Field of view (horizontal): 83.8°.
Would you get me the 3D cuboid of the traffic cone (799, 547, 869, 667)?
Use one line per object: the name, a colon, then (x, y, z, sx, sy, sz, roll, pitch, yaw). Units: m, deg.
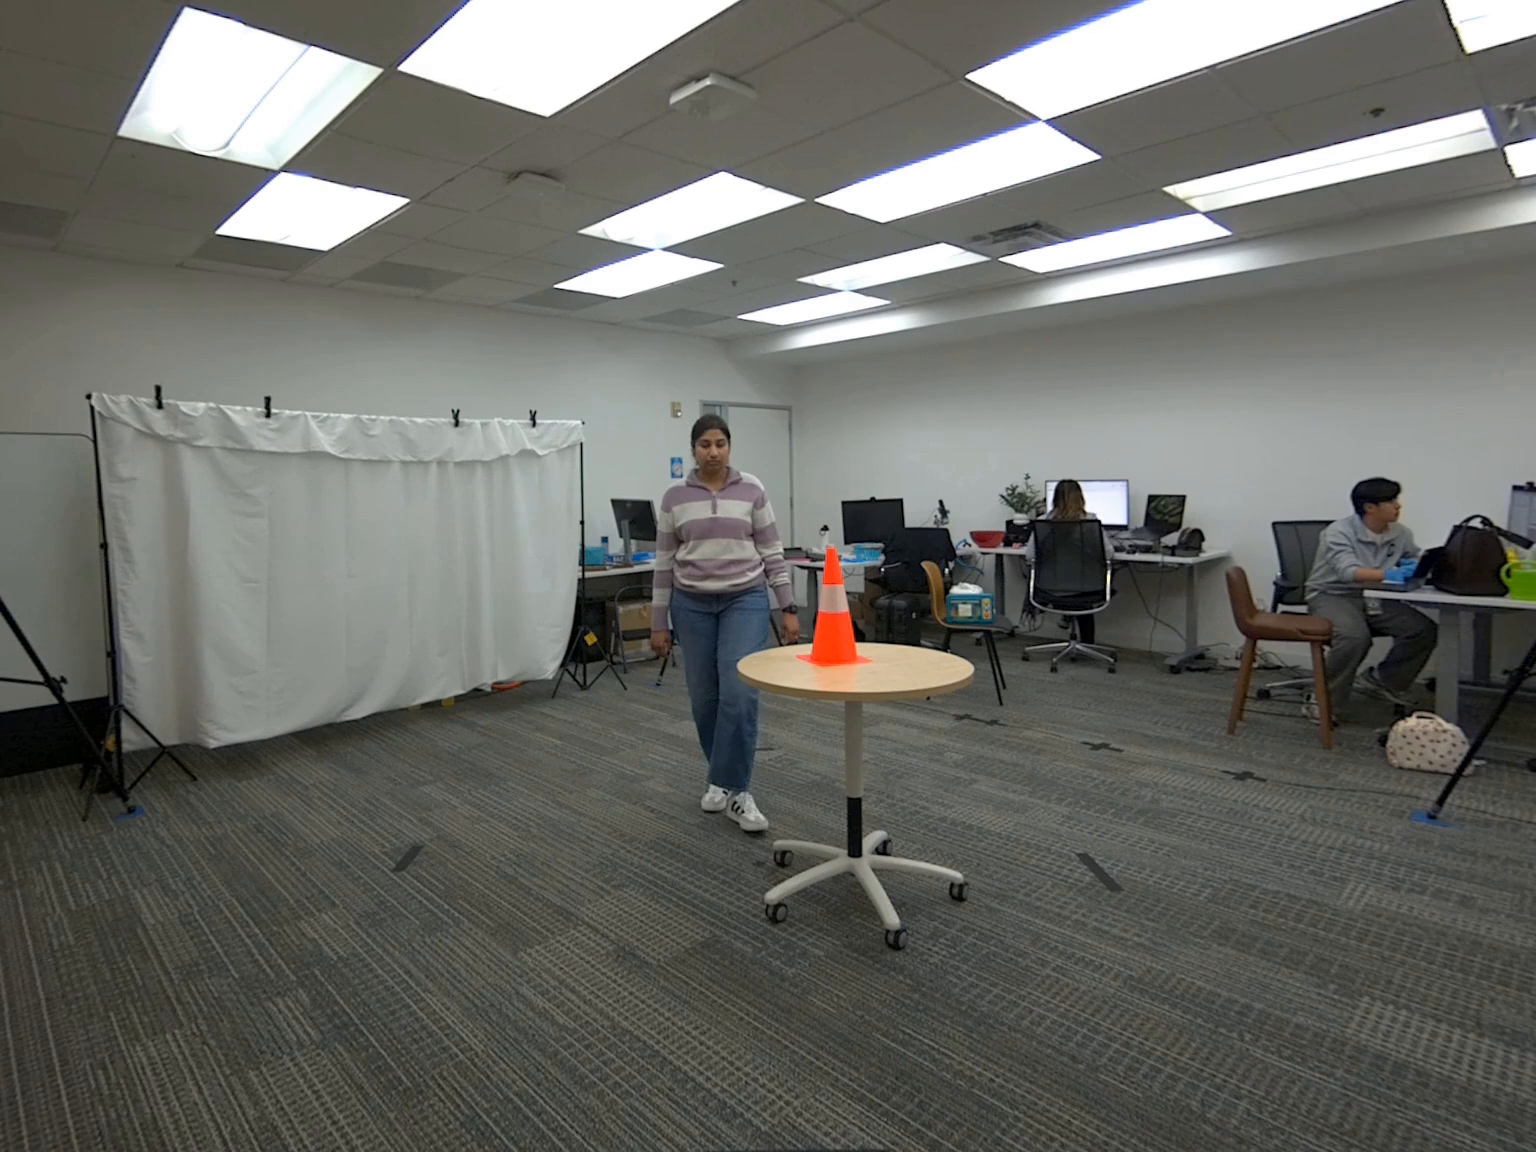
traffic cone: (0.226, 0.096, 2.882, 0.198, 0.382, 0.211, -6, 7, -33)
